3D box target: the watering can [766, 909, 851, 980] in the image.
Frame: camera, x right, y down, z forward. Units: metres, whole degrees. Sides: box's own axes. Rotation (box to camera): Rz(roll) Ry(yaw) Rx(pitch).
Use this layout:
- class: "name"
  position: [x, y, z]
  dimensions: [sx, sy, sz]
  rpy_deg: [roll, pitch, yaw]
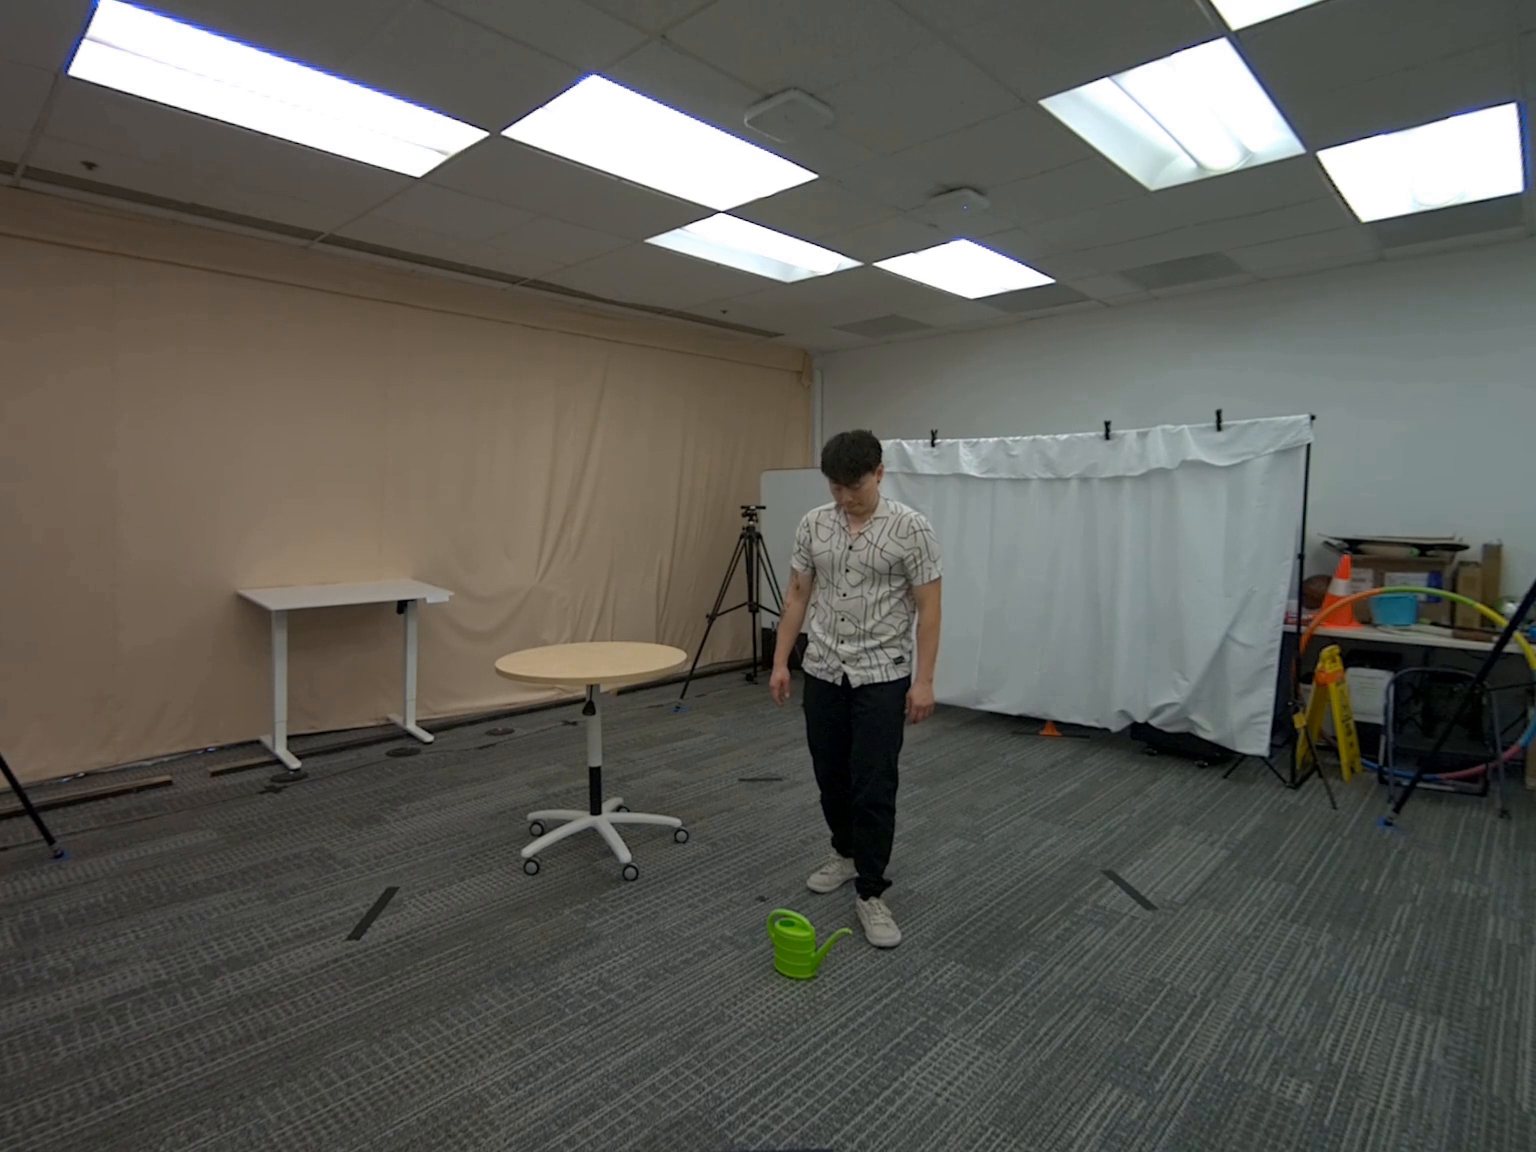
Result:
- class: "watering can"
  position: [0.117, 1.092, 2.482]
  dimensions: [0.095, 0.177, 0.287]
  rpy_deg: [-1, 2, -43]
